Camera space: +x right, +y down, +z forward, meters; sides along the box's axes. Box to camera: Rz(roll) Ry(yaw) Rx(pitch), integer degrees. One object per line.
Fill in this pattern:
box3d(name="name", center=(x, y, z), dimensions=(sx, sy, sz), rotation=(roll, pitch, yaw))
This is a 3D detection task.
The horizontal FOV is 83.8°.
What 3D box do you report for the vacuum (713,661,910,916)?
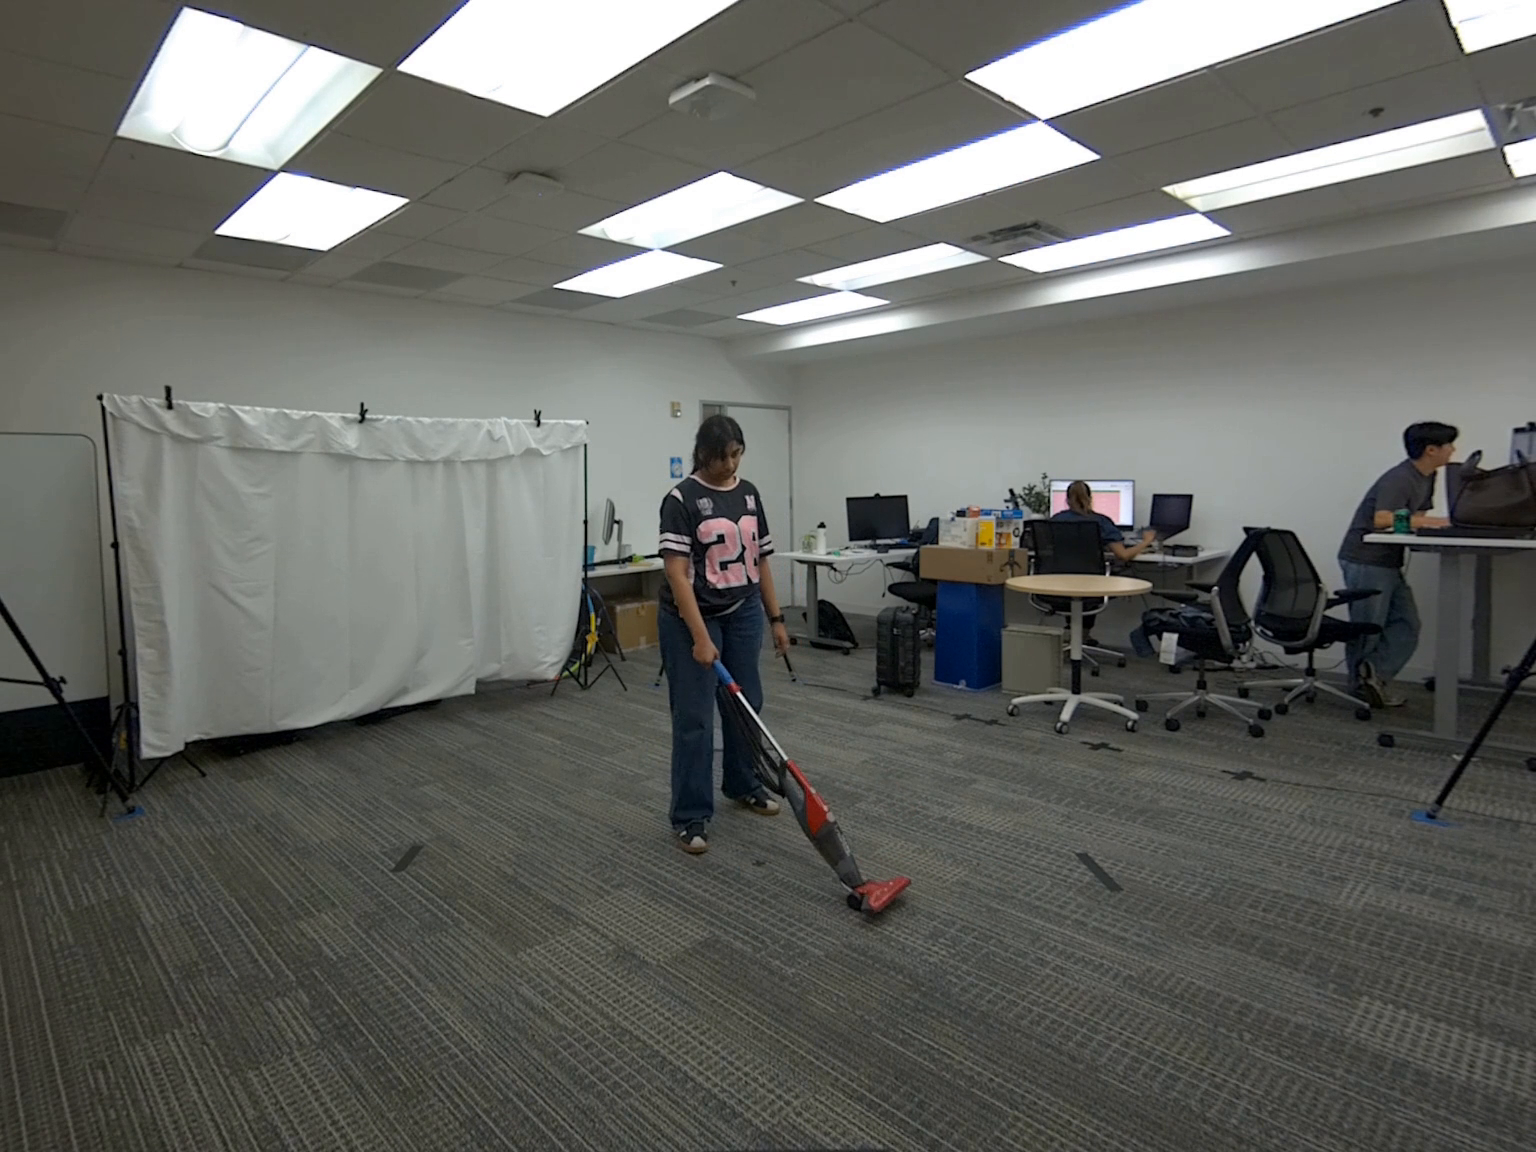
box3d(name="vacuum", center=(0.053, 0.671, 2.990), dimensions=(0.246, 1.080, 0.143), rotation=(-4, -40, -52))
